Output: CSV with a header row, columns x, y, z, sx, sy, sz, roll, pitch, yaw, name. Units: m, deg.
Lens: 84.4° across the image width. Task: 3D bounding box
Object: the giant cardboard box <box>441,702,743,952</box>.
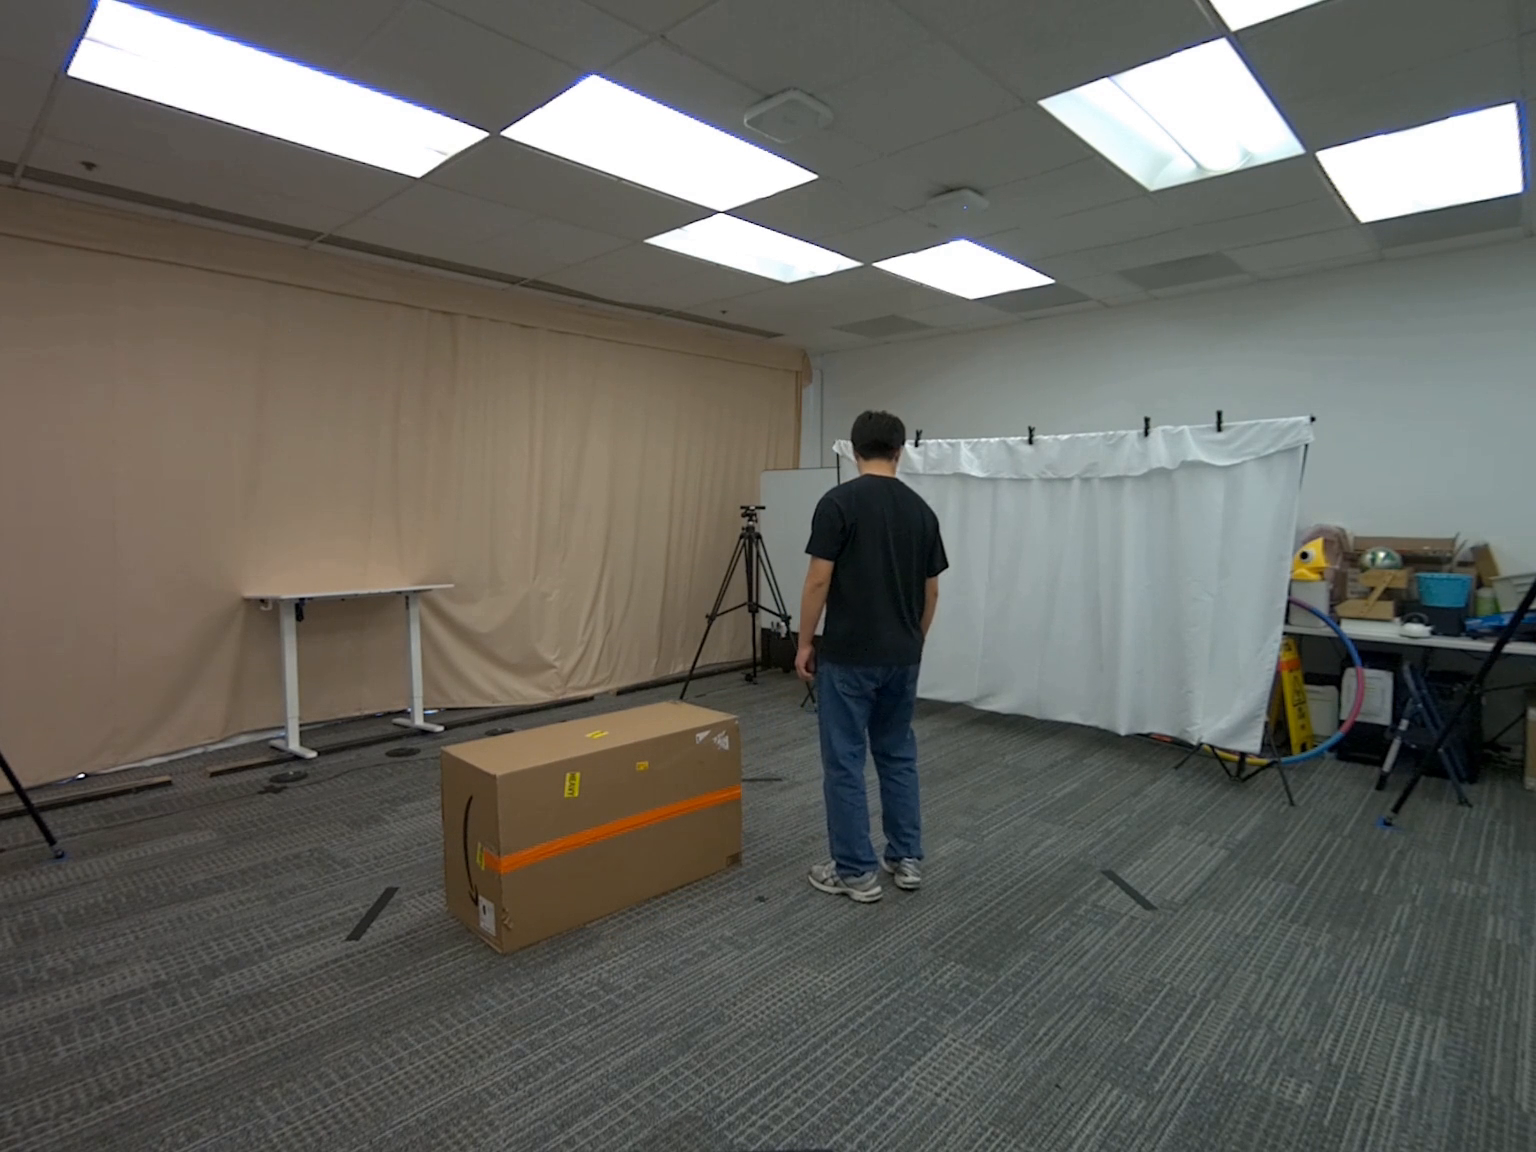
x,y,z,sx,sy,sz,roll,pitch,yaw,name
-0.613,0.855,3.085,0.996,0.582,0.462,-5,6,-43,giant cardboard box
